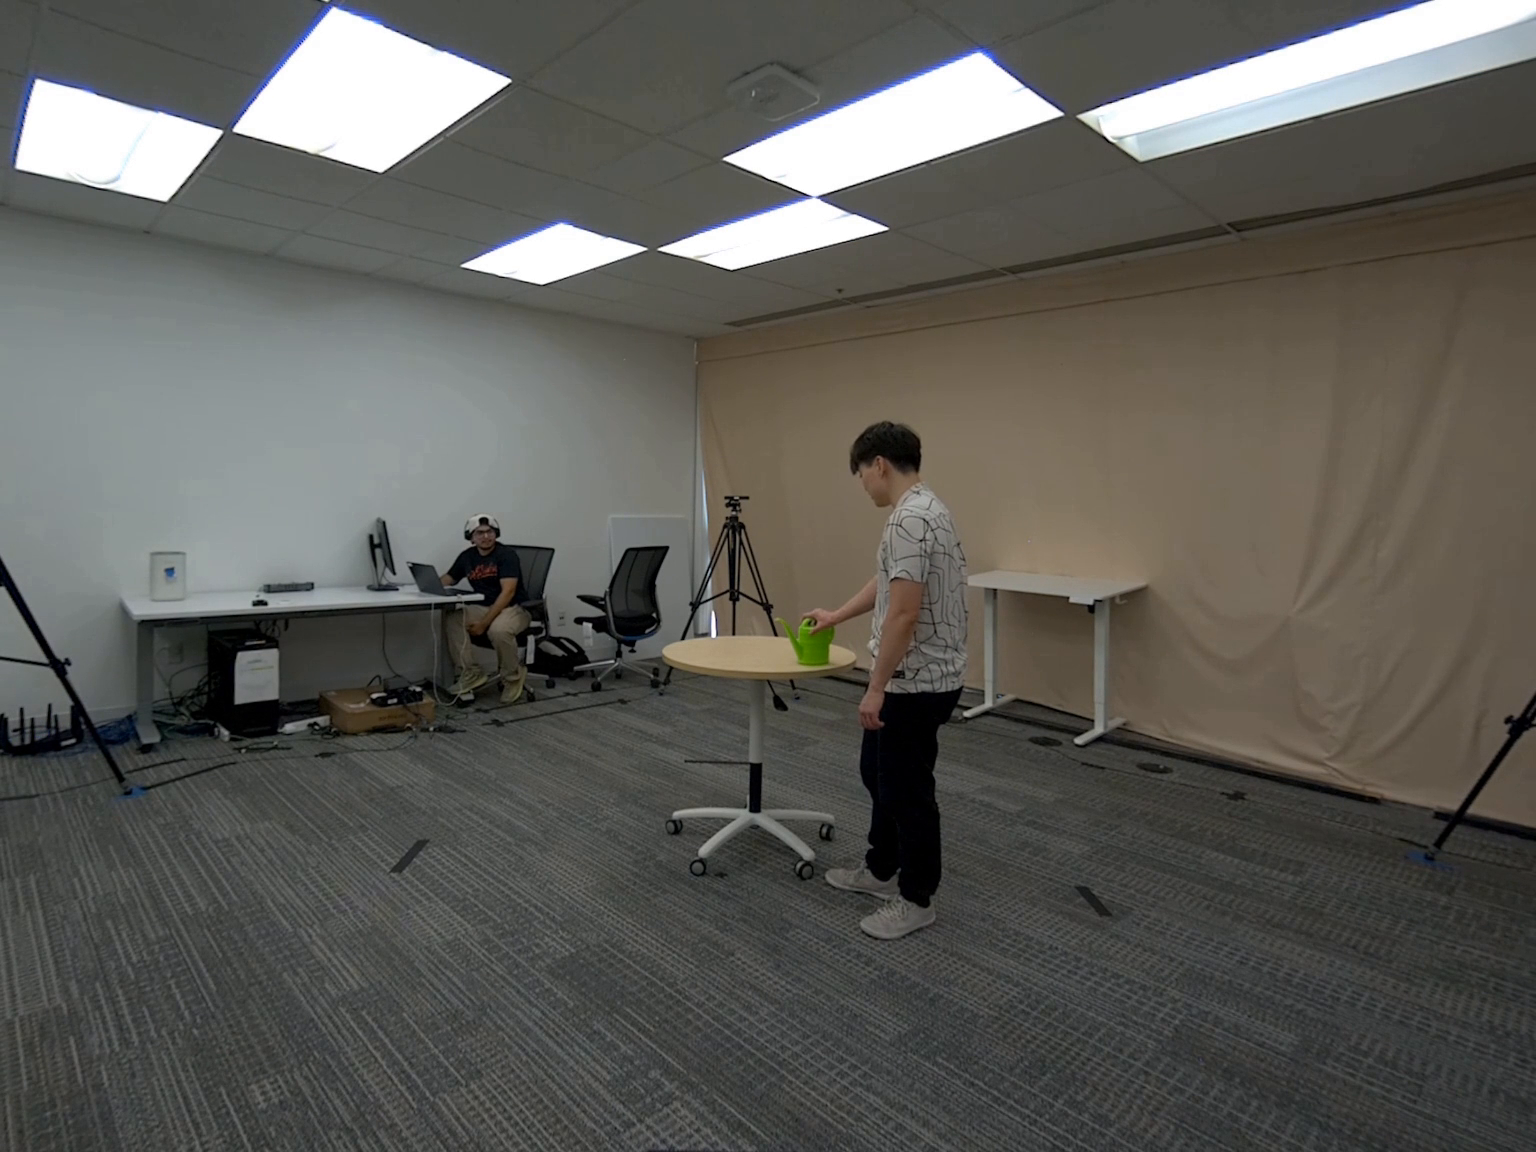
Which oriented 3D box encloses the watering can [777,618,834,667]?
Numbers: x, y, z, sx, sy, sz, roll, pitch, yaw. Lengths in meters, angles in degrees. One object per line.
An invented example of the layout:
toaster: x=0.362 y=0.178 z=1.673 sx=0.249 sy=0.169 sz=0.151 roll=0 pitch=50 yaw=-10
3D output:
watering can: x=0.130 y=0.240 z=3.129 sx=0.273 sy=0.177 sz=0.100 roll=1 pitch=1 yaw=-23
